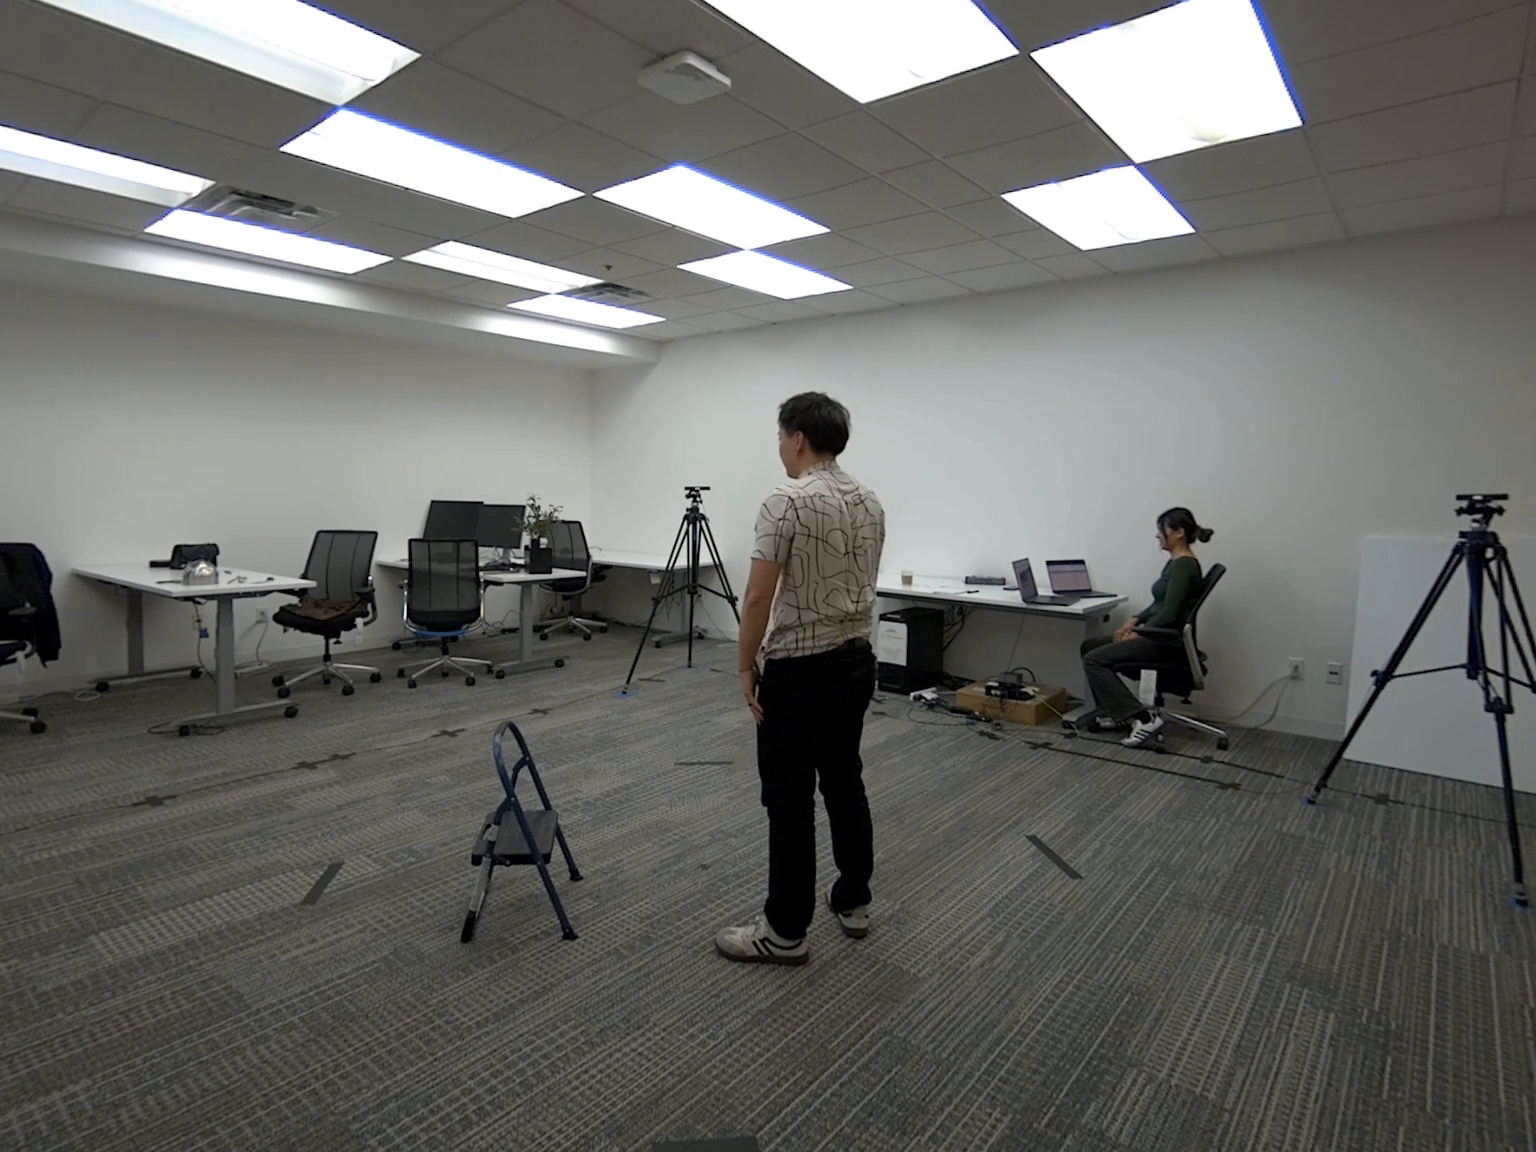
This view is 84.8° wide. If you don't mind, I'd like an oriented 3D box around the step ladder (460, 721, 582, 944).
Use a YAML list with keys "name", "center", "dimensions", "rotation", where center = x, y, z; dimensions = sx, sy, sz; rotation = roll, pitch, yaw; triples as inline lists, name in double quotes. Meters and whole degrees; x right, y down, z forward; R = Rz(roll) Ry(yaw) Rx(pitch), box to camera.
- name: "step ladder"
  center: [-0.810, 0.791, 2.779]
  dimensions: [0.346, 0.604, 0.436]
  rotation: [0, 4, -9]
